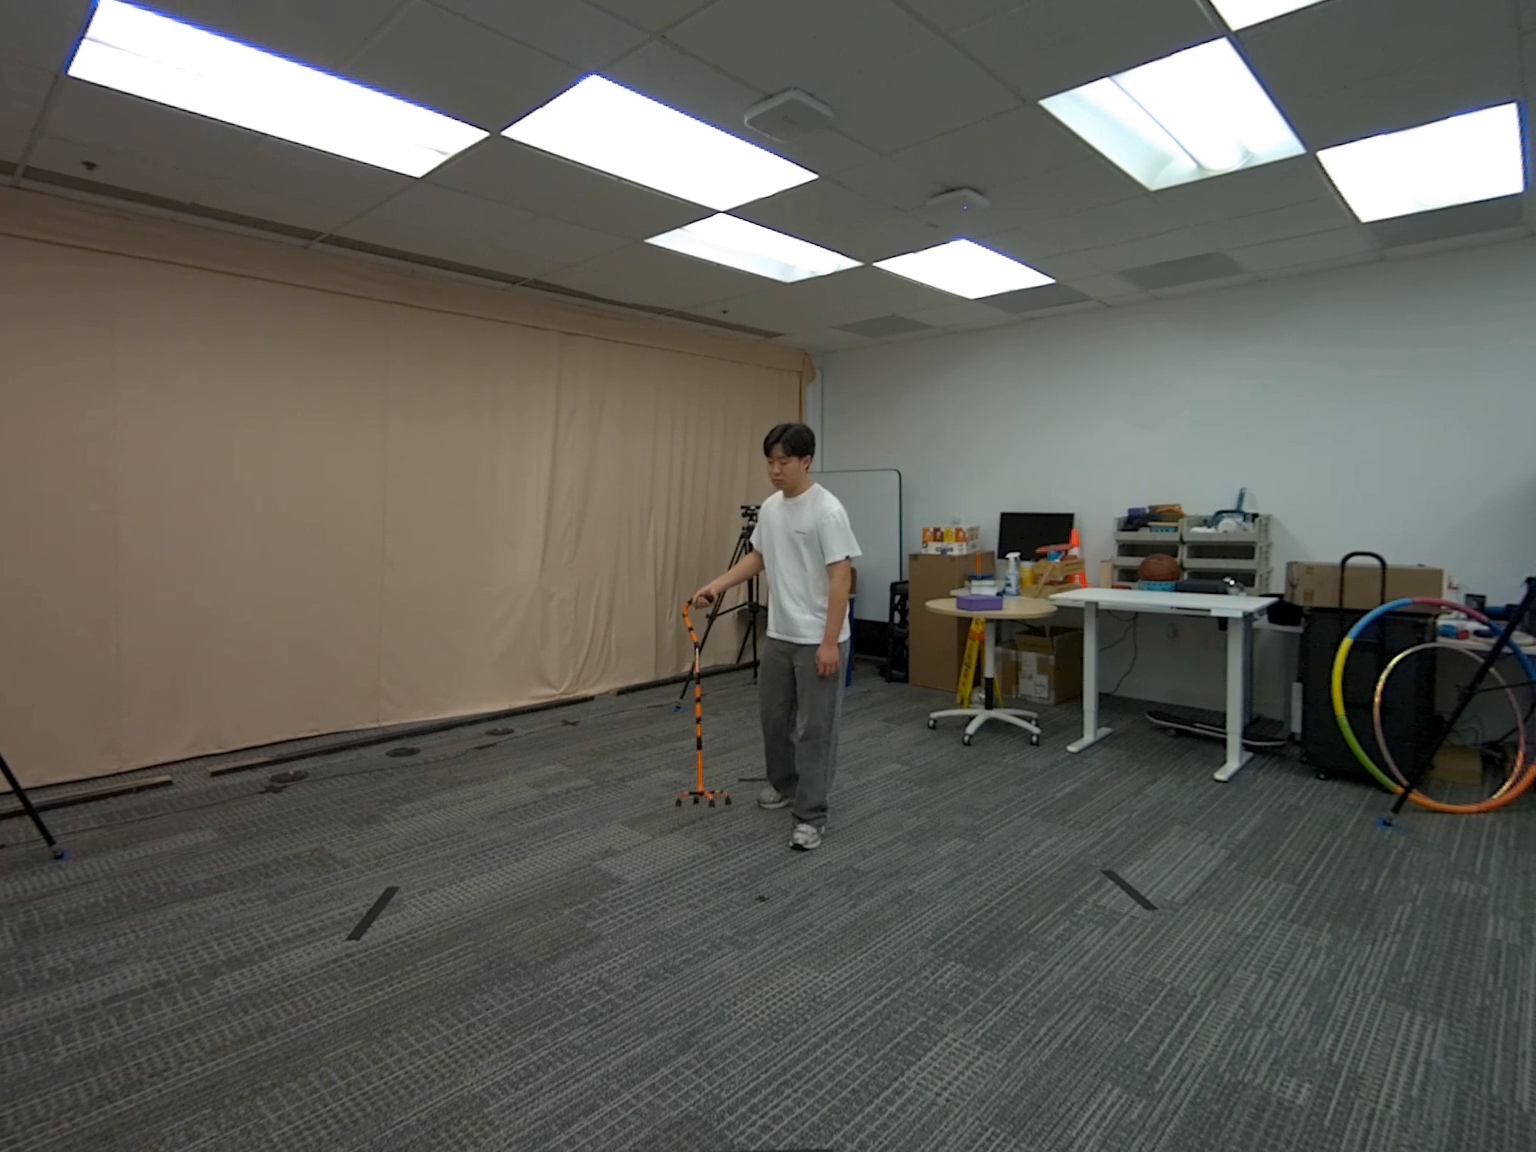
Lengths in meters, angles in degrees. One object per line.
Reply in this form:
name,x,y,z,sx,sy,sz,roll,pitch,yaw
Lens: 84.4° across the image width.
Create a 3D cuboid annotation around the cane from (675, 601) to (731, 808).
cane,-0.294,0.557,3.744,0.211,0.913,0.147,-8,-9,27
